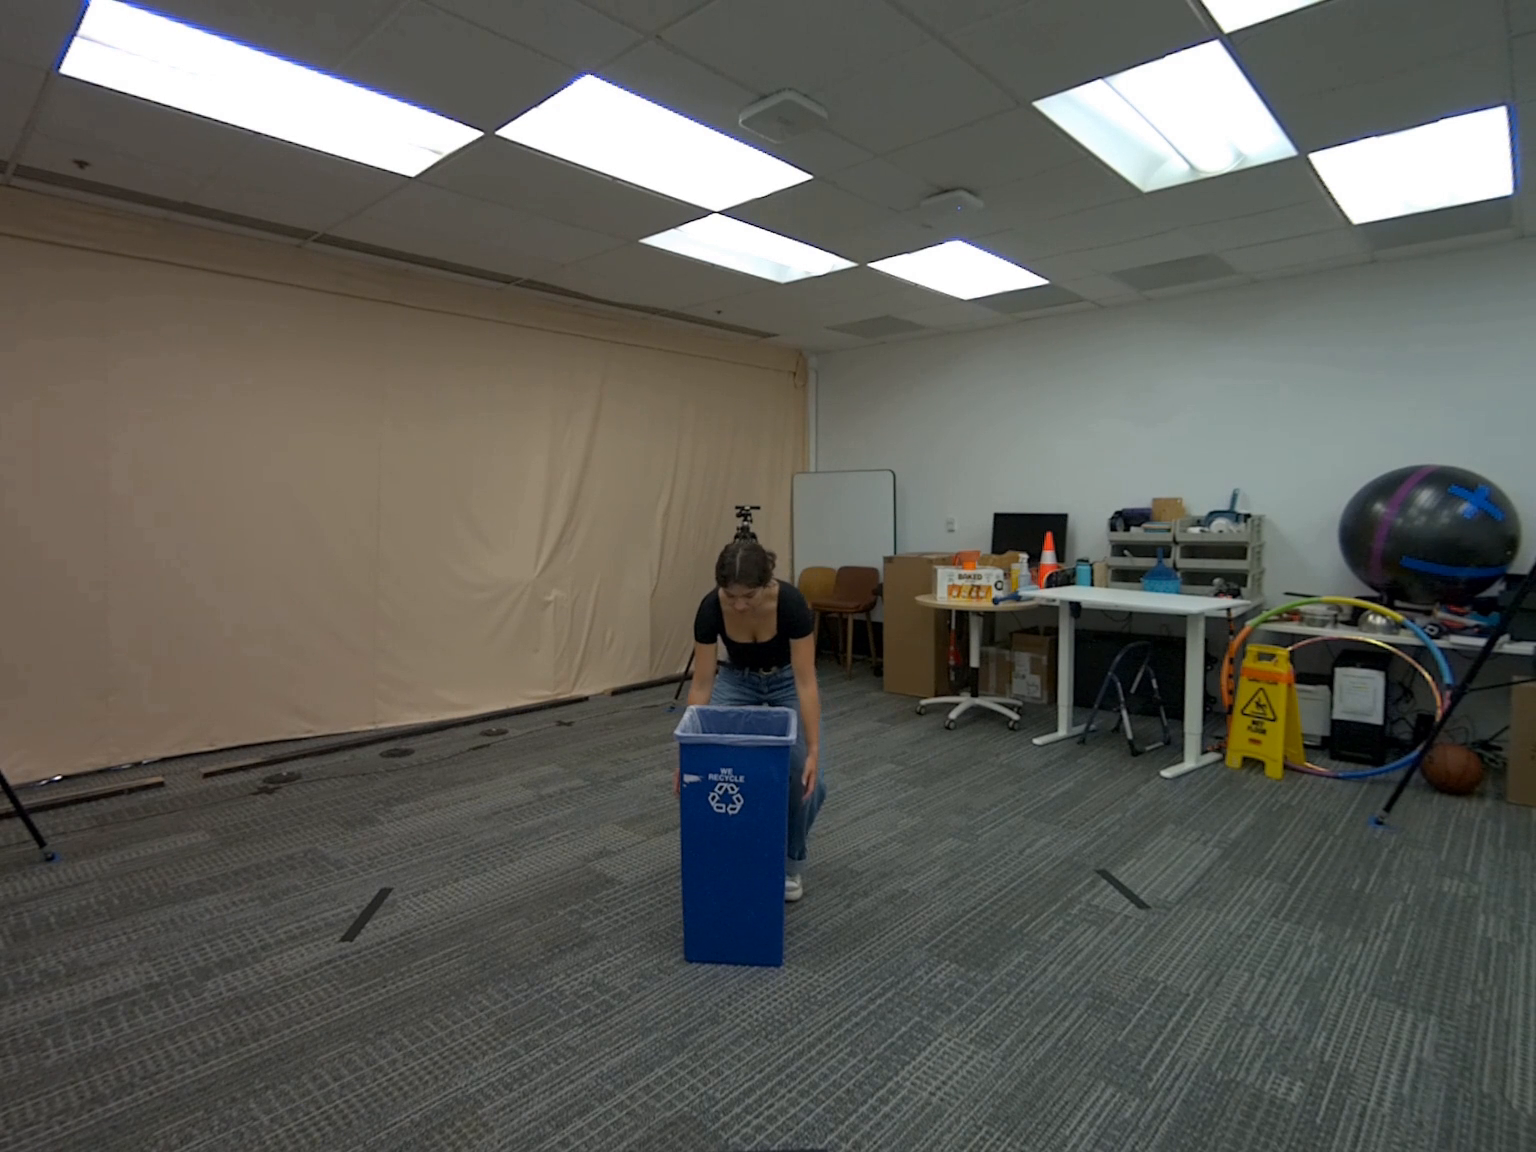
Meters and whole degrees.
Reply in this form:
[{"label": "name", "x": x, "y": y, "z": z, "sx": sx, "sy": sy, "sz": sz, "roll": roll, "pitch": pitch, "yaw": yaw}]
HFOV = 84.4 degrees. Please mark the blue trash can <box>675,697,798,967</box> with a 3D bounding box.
[{"label": "blue trash can", "x": -0.088, "y": 0.809, "z": 2.689, "sx": 0.376, "sy": 0.712, "sz": 0.377, "roll": 0, "pitch": 3, "yaw": 4}]
